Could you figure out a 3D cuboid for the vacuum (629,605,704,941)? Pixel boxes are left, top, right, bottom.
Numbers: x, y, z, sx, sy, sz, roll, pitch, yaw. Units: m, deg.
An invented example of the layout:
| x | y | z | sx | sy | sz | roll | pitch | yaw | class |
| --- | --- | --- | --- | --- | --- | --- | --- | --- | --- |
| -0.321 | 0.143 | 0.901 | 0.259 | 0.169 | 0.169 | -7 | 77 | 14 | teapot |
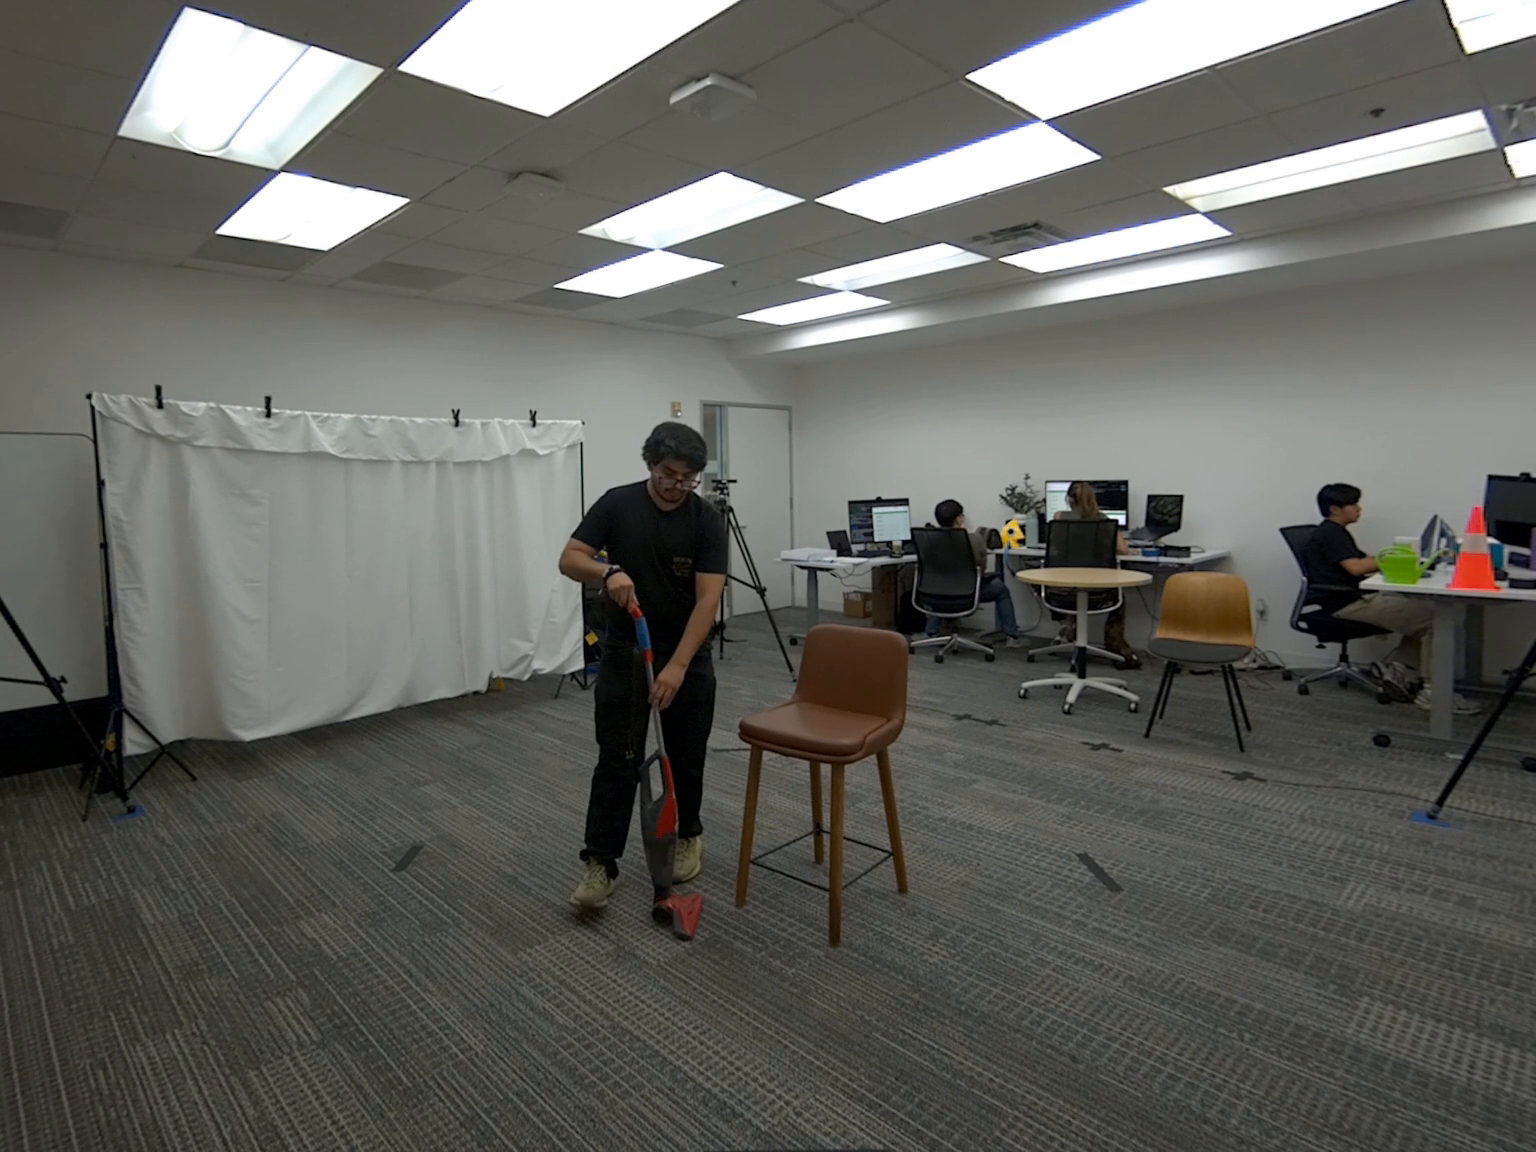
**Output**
| x | y | z | sx | sy | sz | roll | pitch | yaw | class |
| --- | --- | --- | --- | --- | --- | --- | --- | --- | --- |
| -0.380 | 0.571 | 2.698 | 0.145 | 1.047 | 0.250 | -9 | 2 | 12 | vacuum |
